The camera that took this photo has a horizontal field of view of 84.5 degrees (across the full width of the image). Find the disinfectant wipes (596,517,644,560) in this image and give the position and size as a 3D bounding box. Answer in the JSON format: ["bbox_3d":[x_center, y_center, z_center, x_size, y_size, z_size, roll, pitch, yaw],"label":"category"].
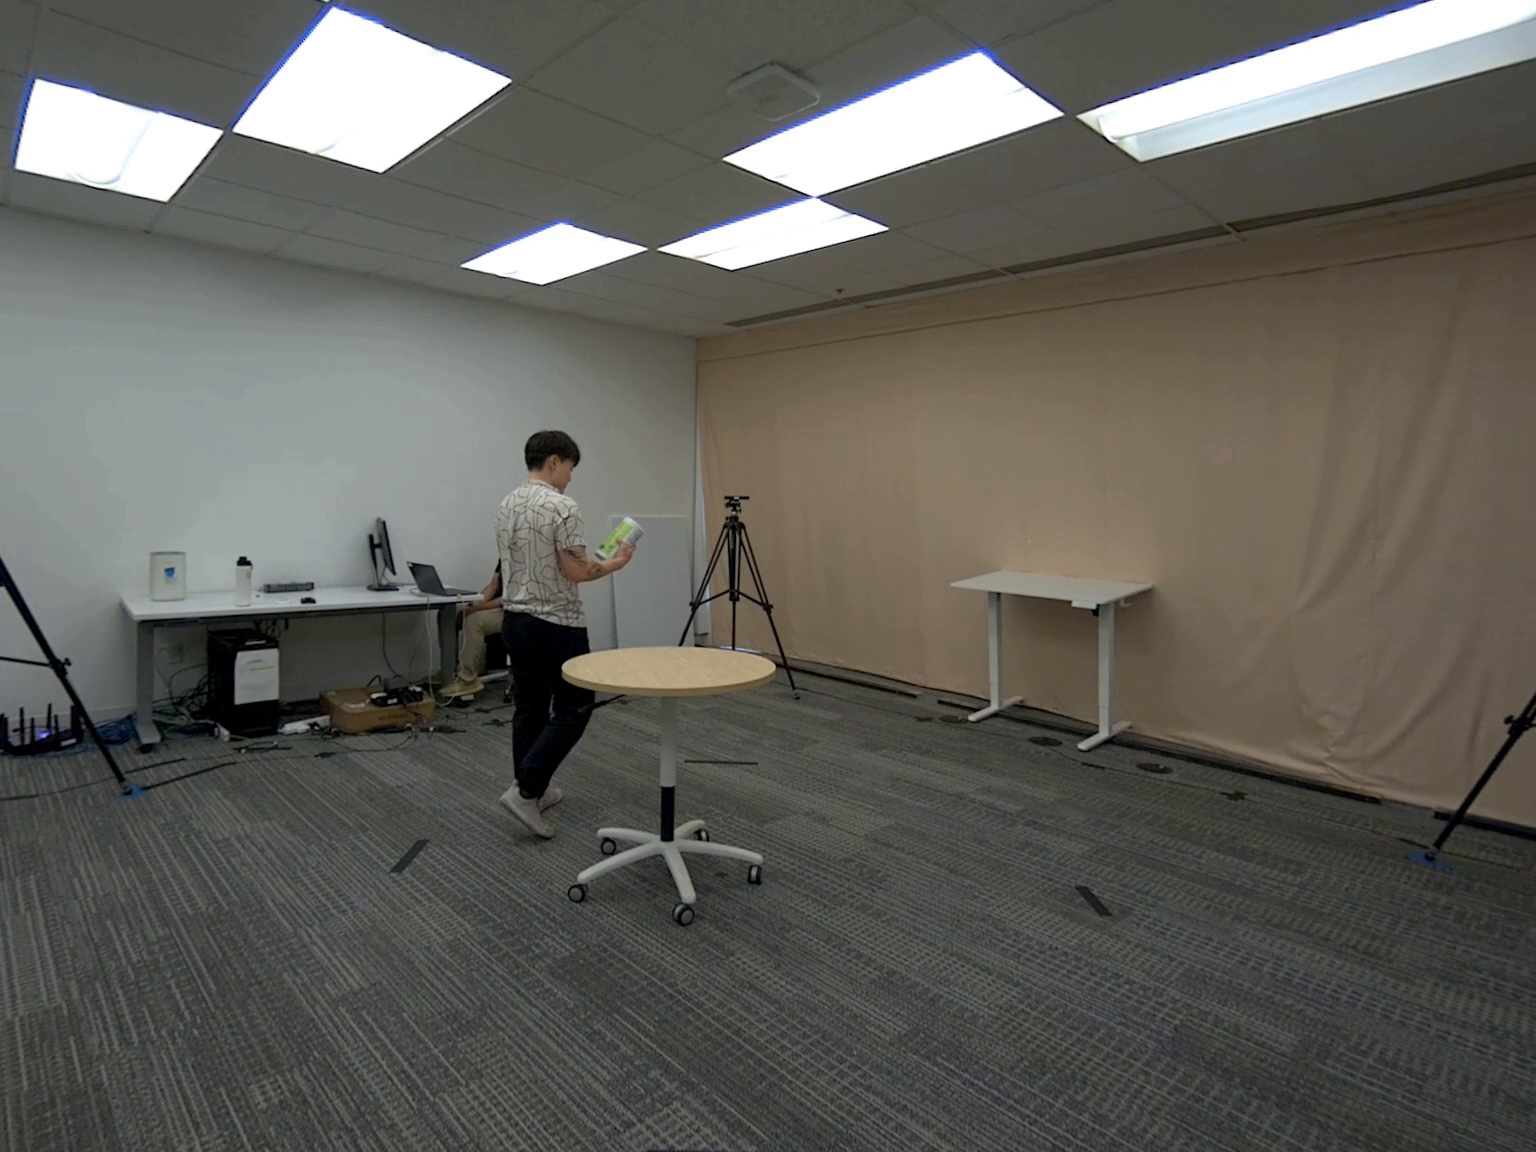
[{"bbox_3d":[-0.678,-0.150,3.715,0.119,0.217,0.116,38,-11,7],"label":"disinfectant wipes"}]
